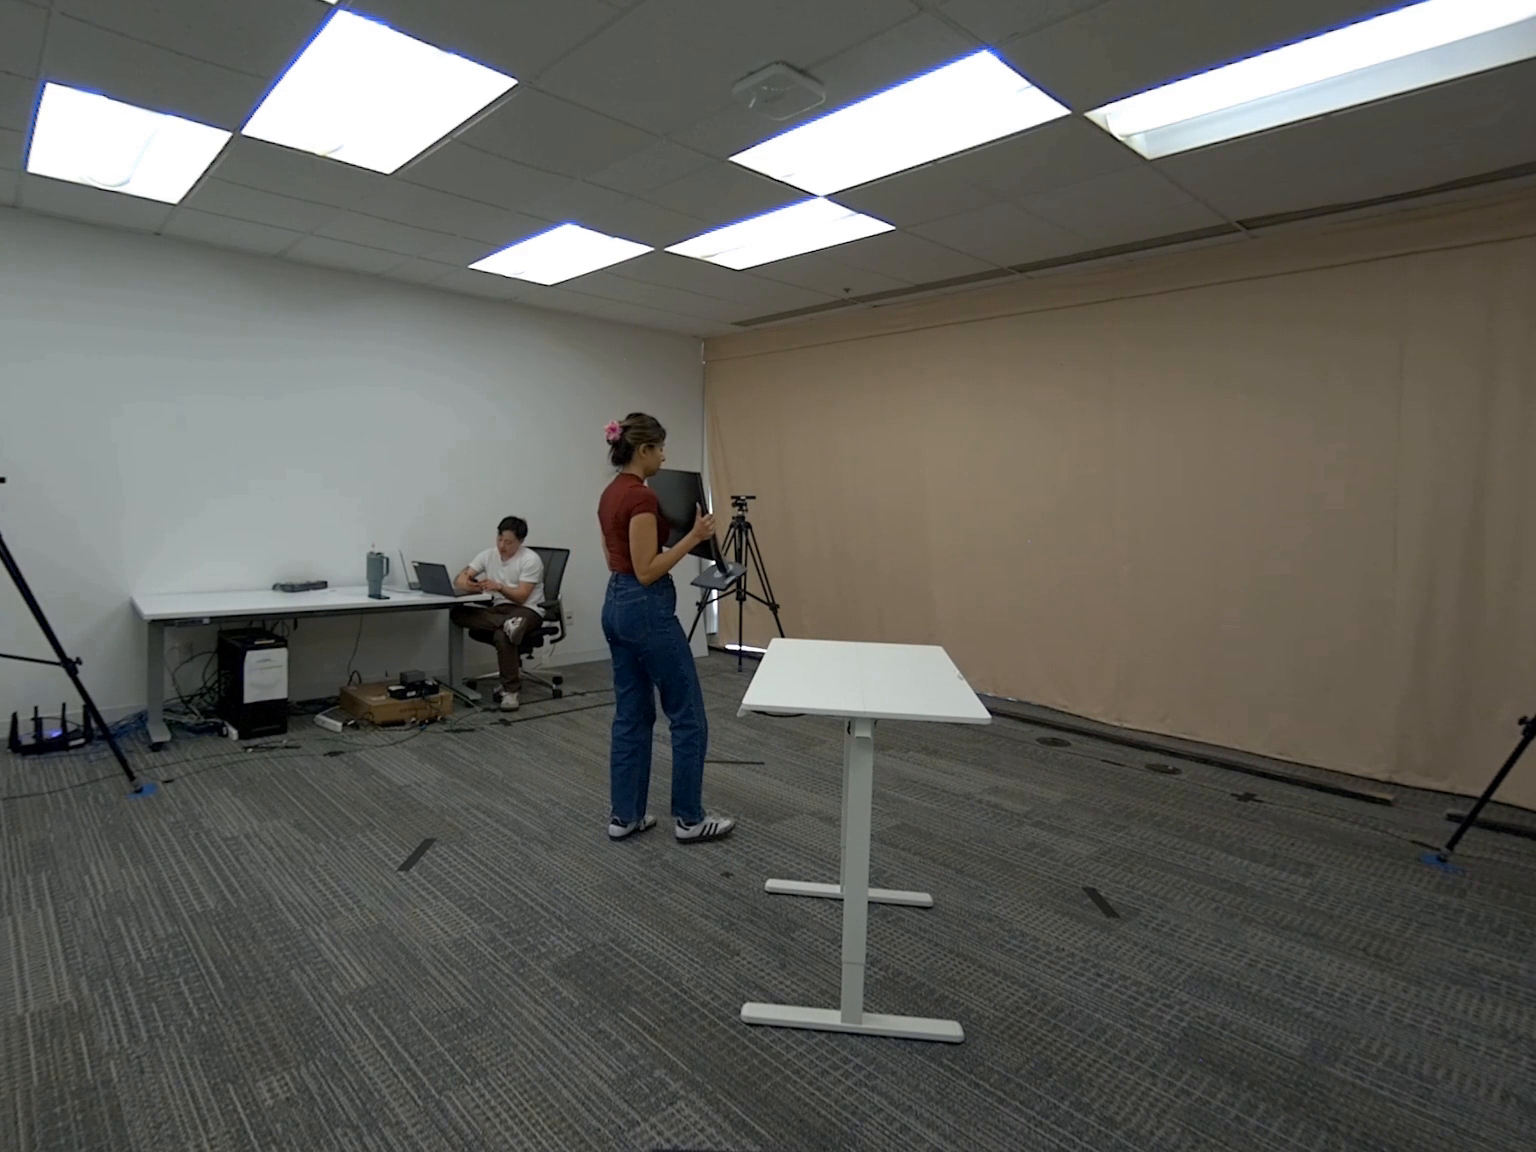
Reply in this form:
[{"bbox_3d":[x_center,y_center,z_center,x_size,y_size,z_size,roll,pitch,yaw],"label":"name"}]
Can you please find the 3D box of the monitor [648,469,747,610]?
[{"bbox_3d":[-0.312,-0.204,3.503,0.186,0.513,0.552,-33,22,-24],"label":"monitor"}]
